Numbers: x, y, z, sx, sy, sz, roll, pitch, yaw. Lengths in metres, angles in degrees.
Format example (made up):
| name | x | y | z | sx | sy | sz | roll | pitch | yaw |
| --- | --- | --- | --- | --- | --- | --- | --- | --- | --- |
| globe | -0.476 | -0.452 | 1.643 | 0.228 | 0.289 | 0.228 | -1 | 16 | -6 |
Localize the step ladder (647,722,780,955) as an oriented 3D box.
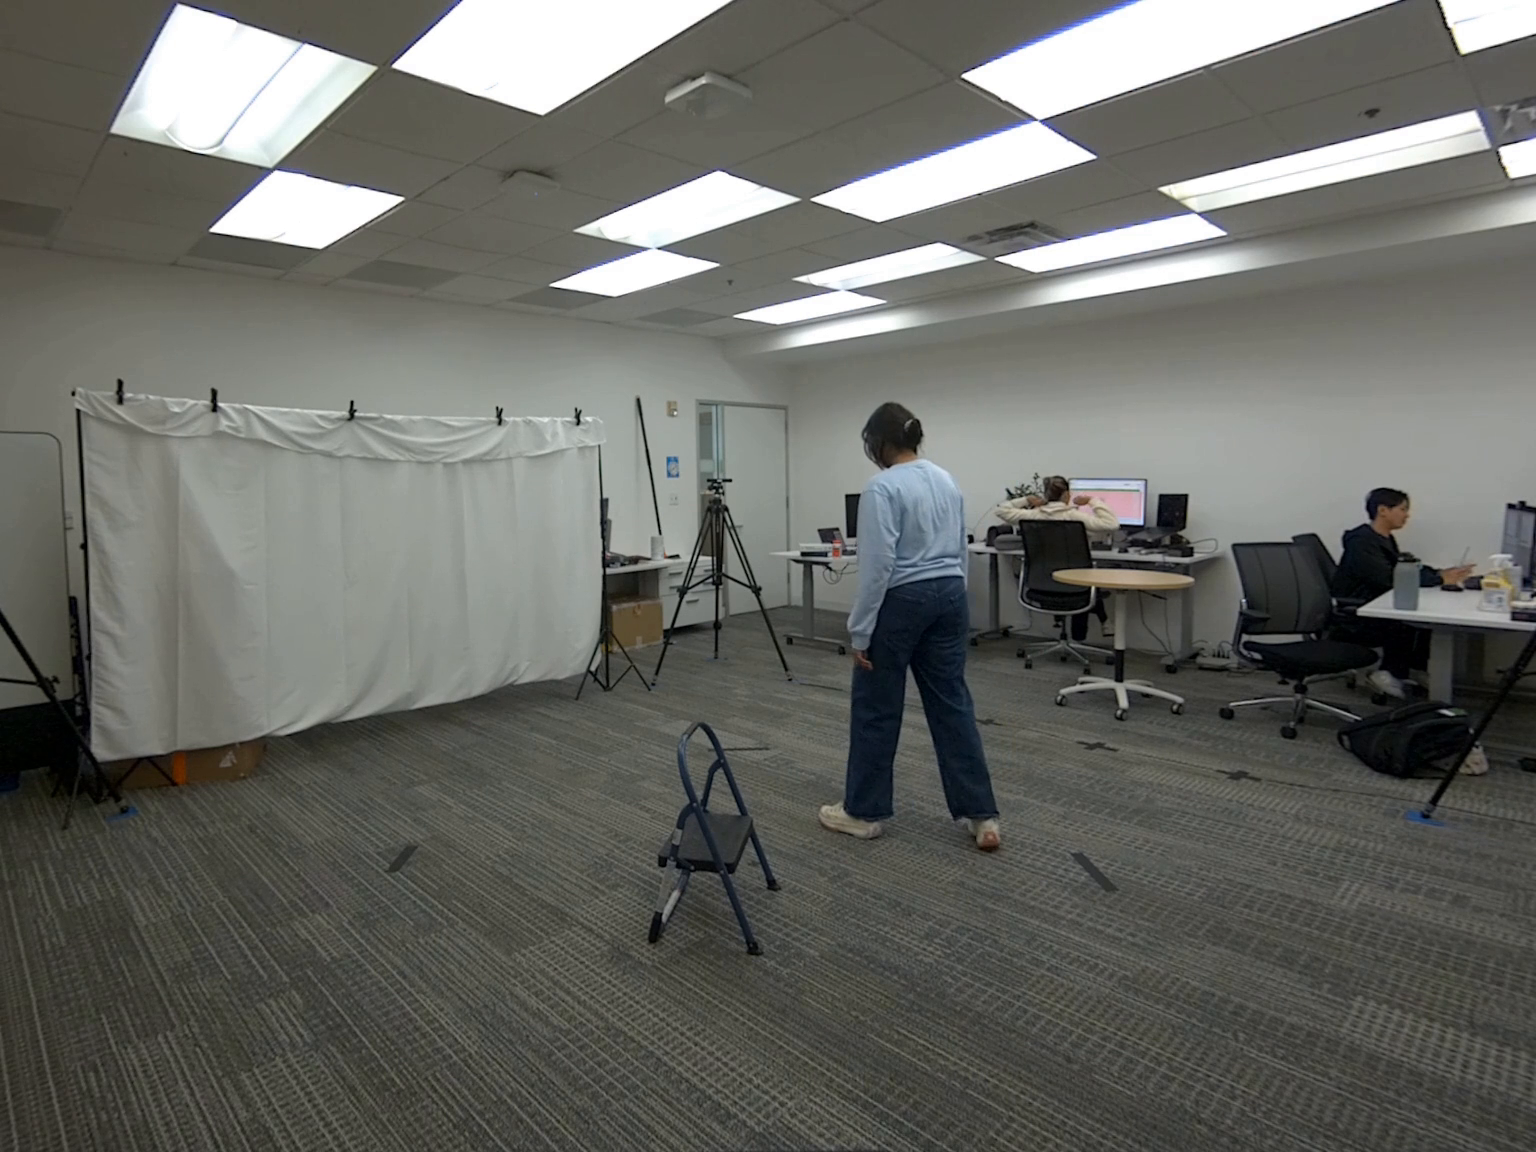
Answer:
| name | x | y | z | sx | sy | sz | roll | pitch | yaw |
| --- | --- | --- | --- | --- | --- | --- | --- | --- | --- |
| step ladder | -0.167 | 0.788 | 2.729 | 0.353 | 0.604 | 0.428 | 0 | 5 | 10 |
